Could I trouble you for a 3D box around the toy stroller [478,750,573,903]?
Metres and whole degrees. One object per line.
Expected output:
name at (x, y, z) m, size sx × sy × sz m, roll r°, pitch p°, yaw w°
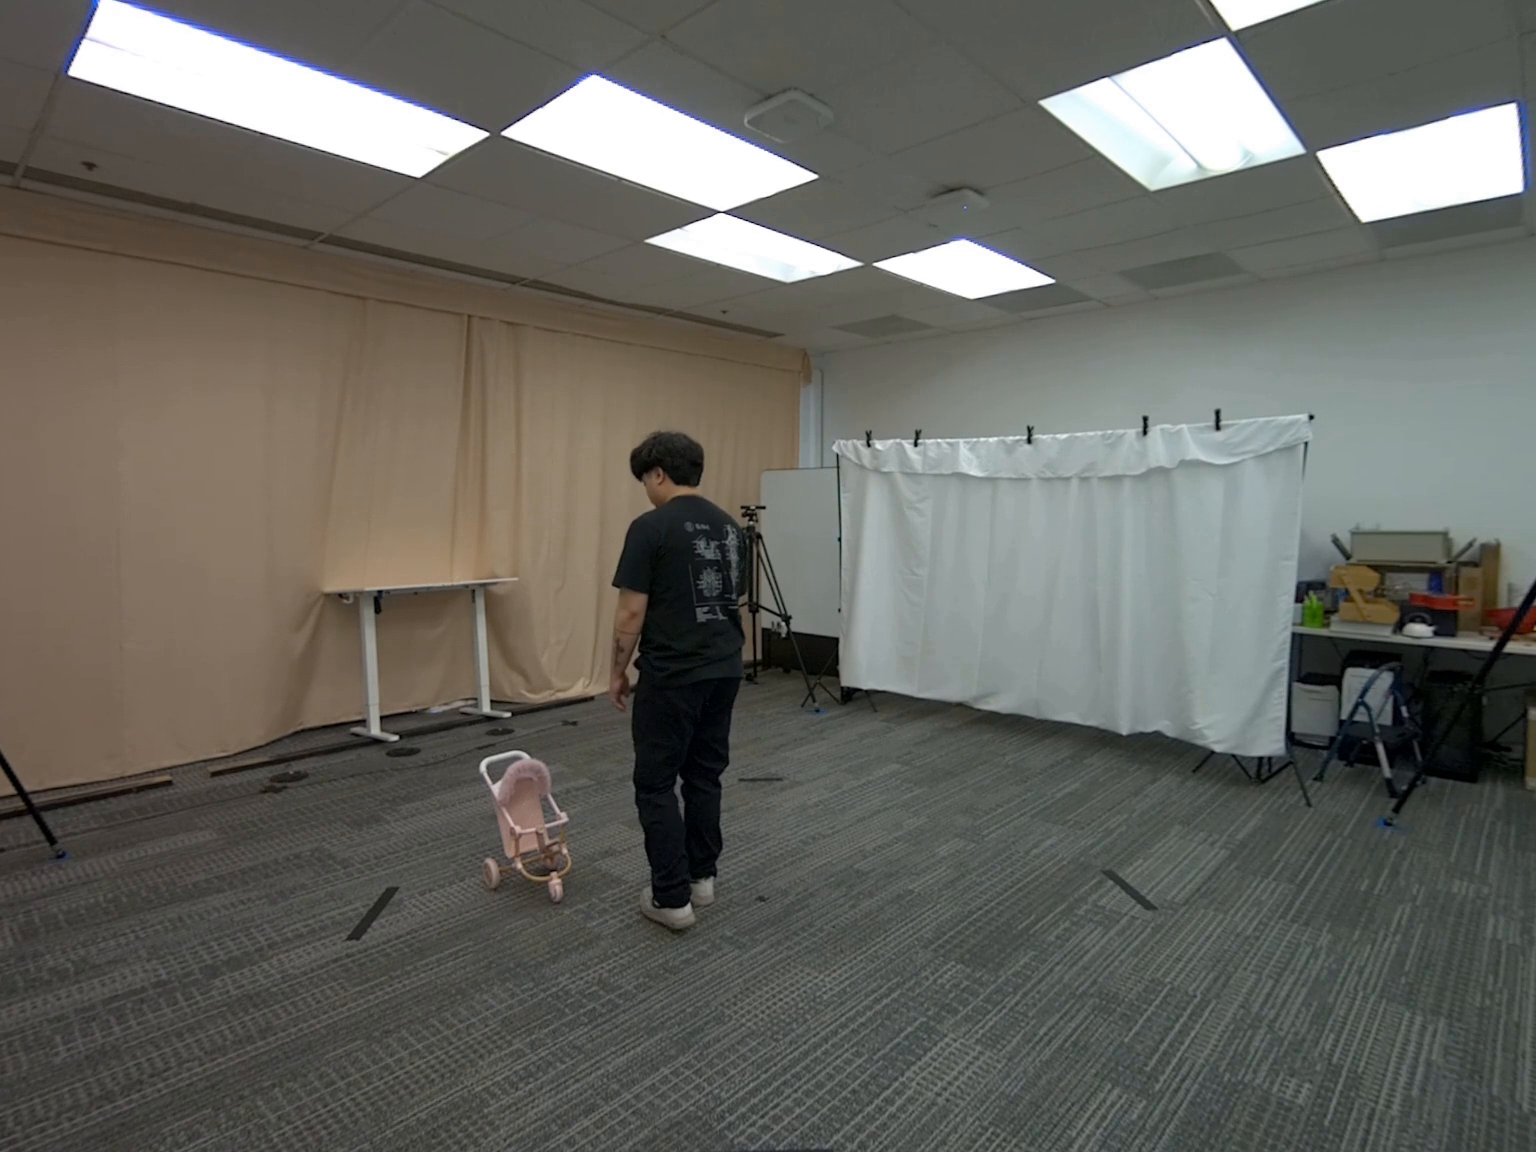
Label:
toy stroller at (-0.888, 0.920, 3.106) m, size 0.273 × 0.539 × 0.349 m, roll -4°, pitch -11°, yaw -38°
